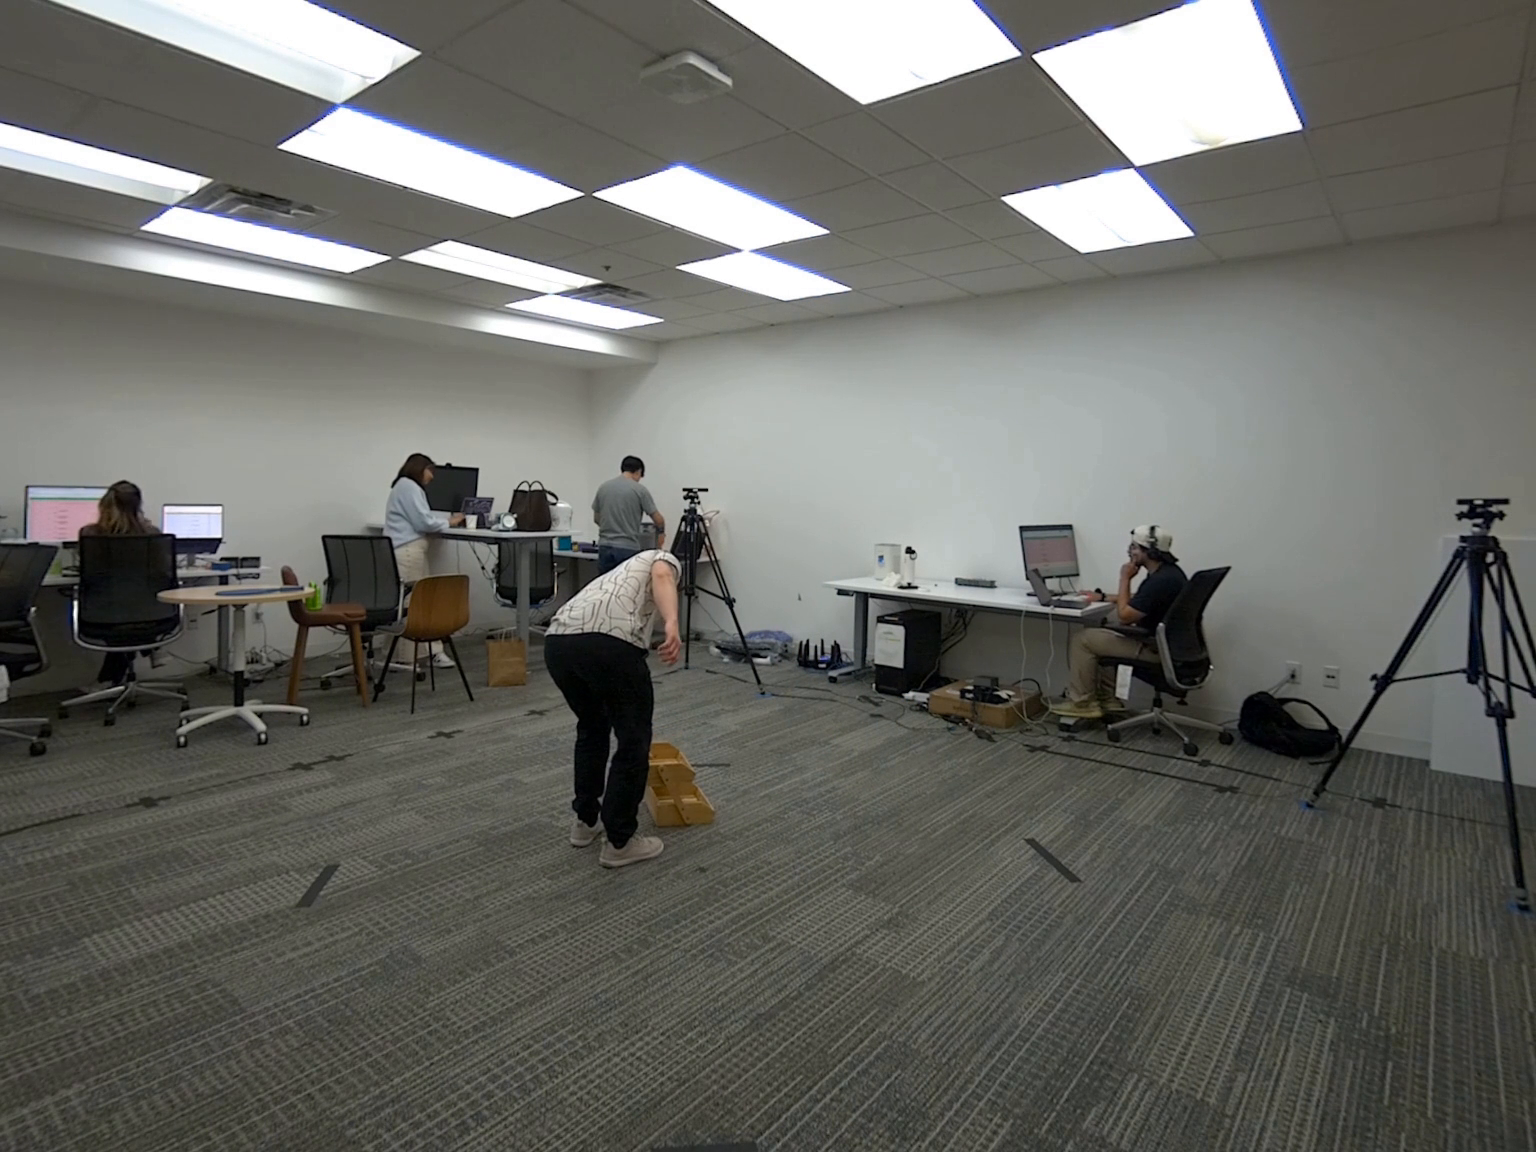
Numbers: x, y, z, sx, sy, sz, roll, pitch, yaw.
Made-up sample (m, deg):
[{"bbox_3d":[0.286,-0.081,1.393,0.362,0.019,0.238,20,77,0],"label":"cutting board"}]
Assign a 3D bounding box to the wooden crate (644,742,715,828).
[{"bbox_3d":[-0.406,0.882,3.680,0.297,0.272,0.331,0,4,-17],"label":"wooden crate"}]
